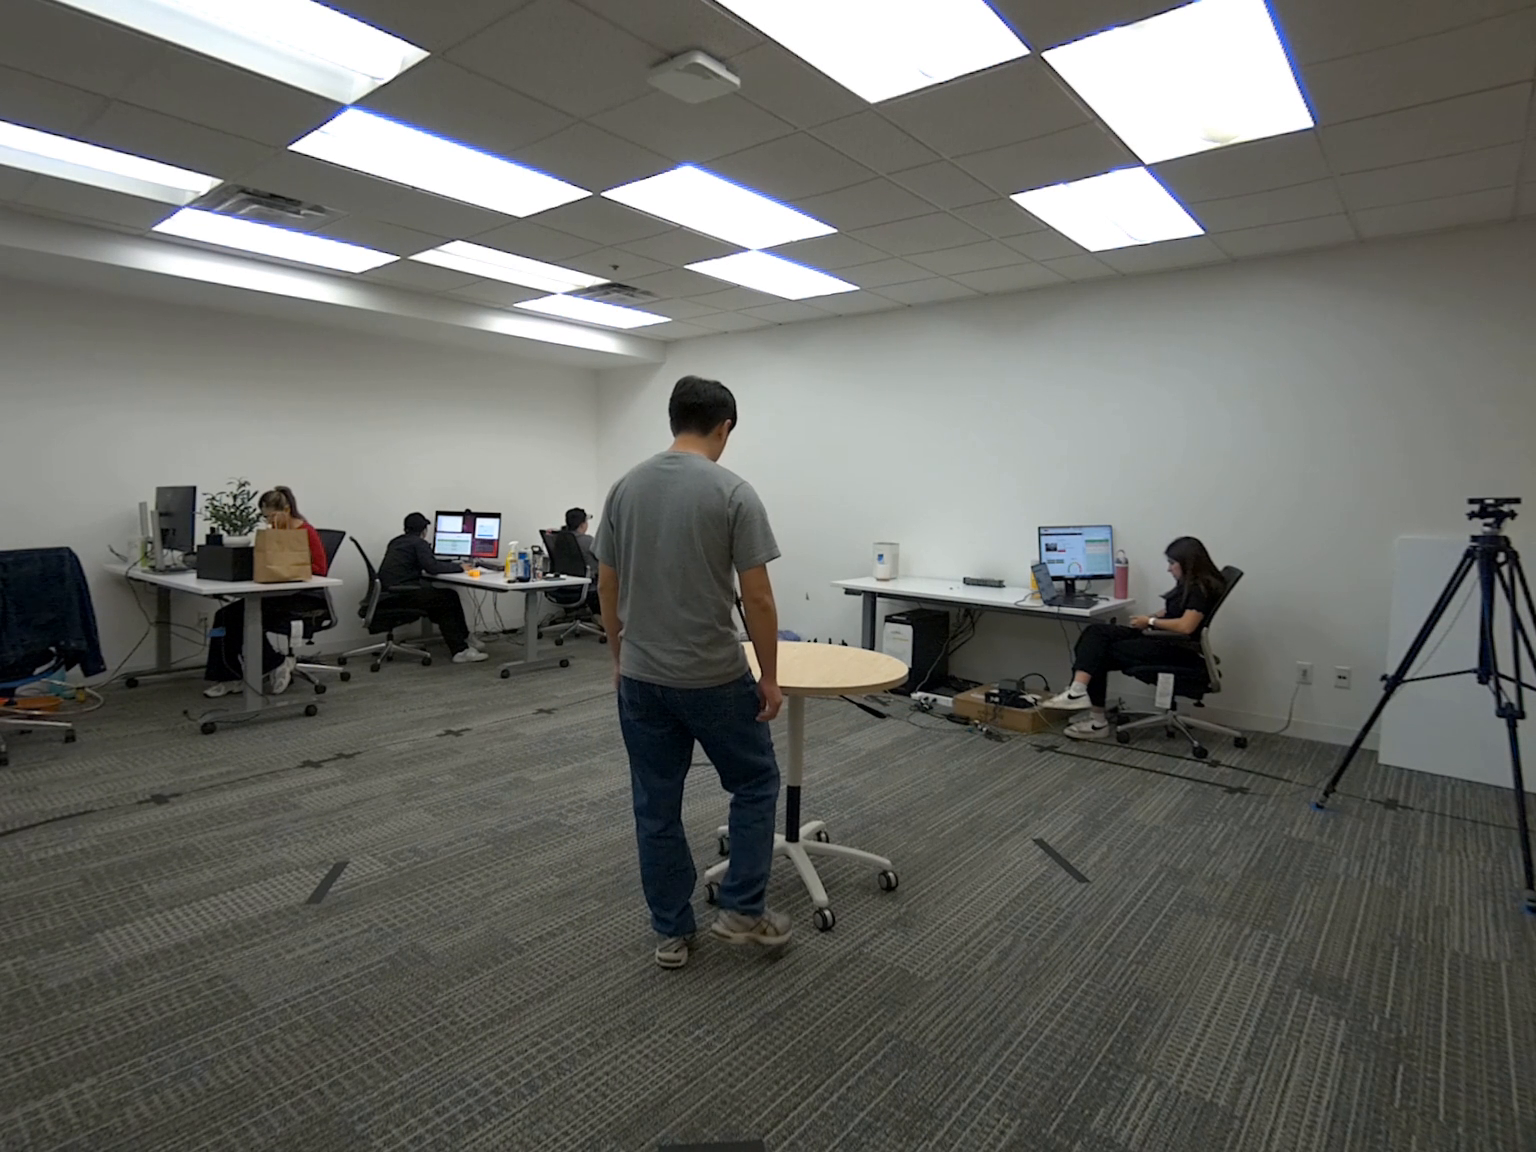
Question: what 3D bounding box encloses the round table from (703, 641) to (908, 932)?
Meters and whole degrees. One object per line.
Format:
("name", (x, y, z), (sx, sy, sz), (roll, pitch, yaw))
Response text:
("round table", (0.088, 0.693, 3.016), (0.763, 0.791, 0.768), (1, 4, -2))
